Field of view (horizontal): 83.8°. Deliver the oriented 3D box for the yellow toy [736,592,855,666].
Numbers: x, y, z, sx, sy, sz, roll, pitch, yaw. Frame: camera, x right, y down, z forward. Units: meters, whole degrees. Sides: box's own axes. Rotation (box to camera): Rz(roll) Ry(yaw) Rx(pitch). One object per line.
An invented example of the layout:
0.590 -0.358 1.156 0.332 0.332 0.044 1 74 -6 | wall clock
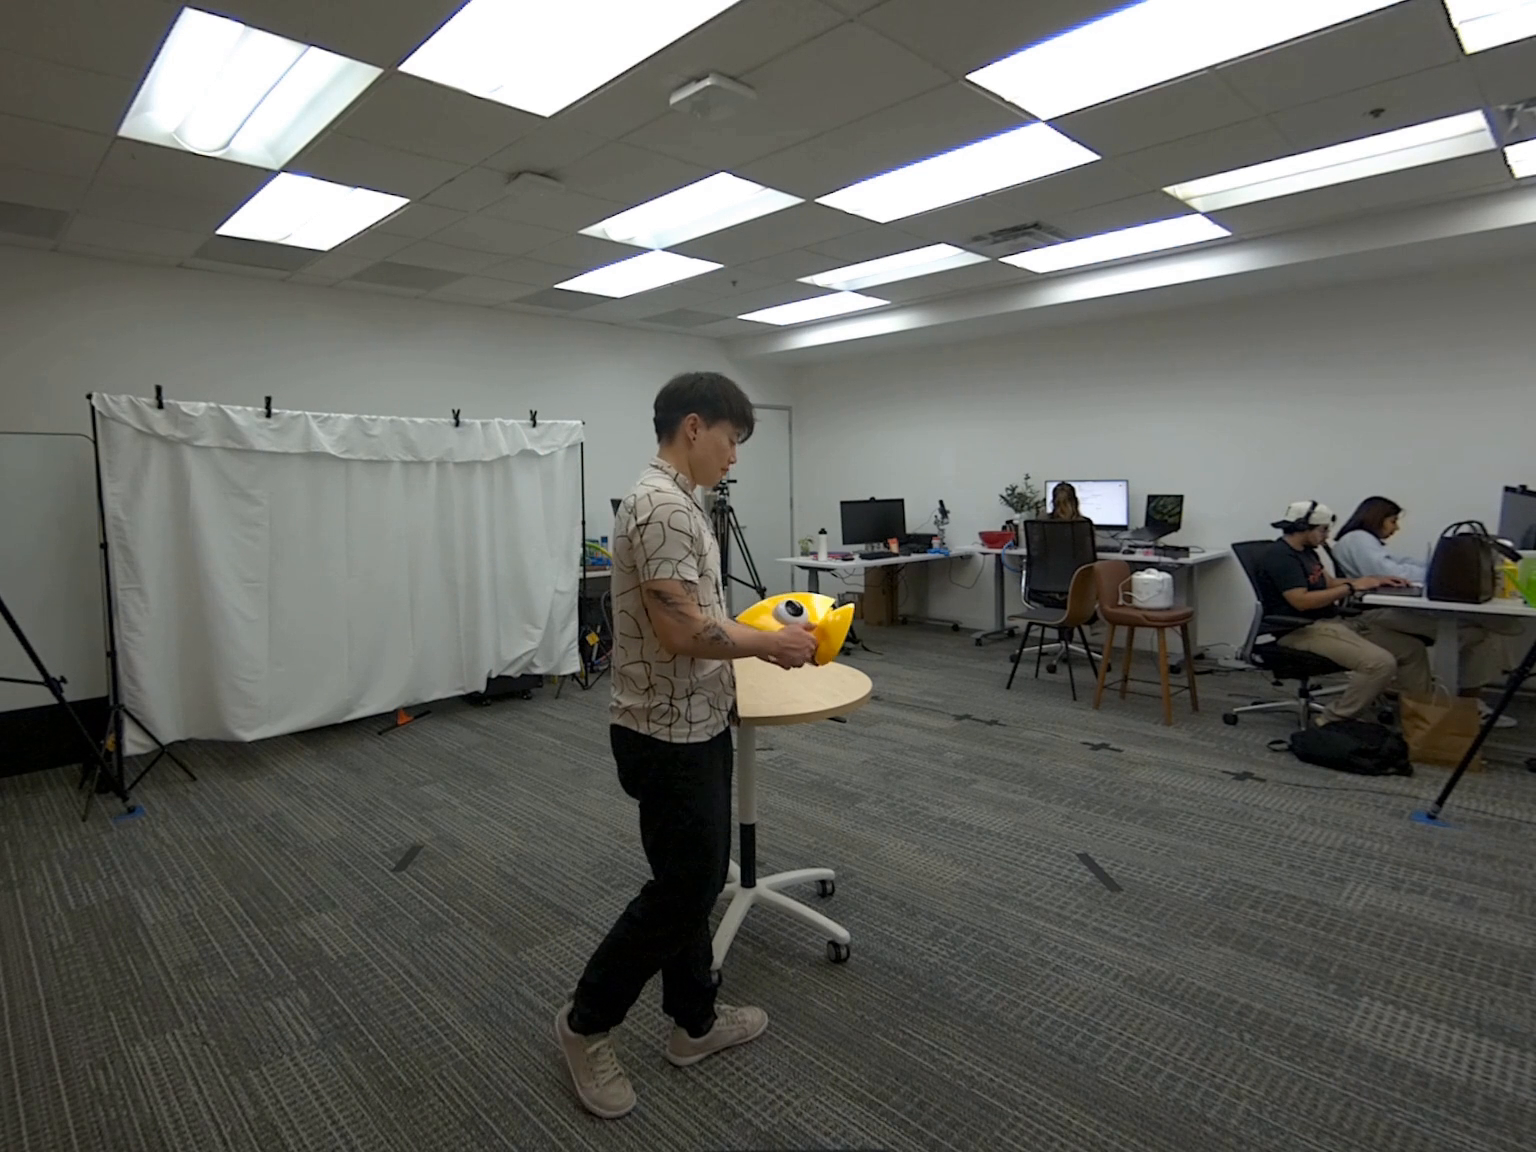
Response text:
0.047 0.100 2.036 0.228 0.194 0.206 28 -14 -10 | yellow toy
